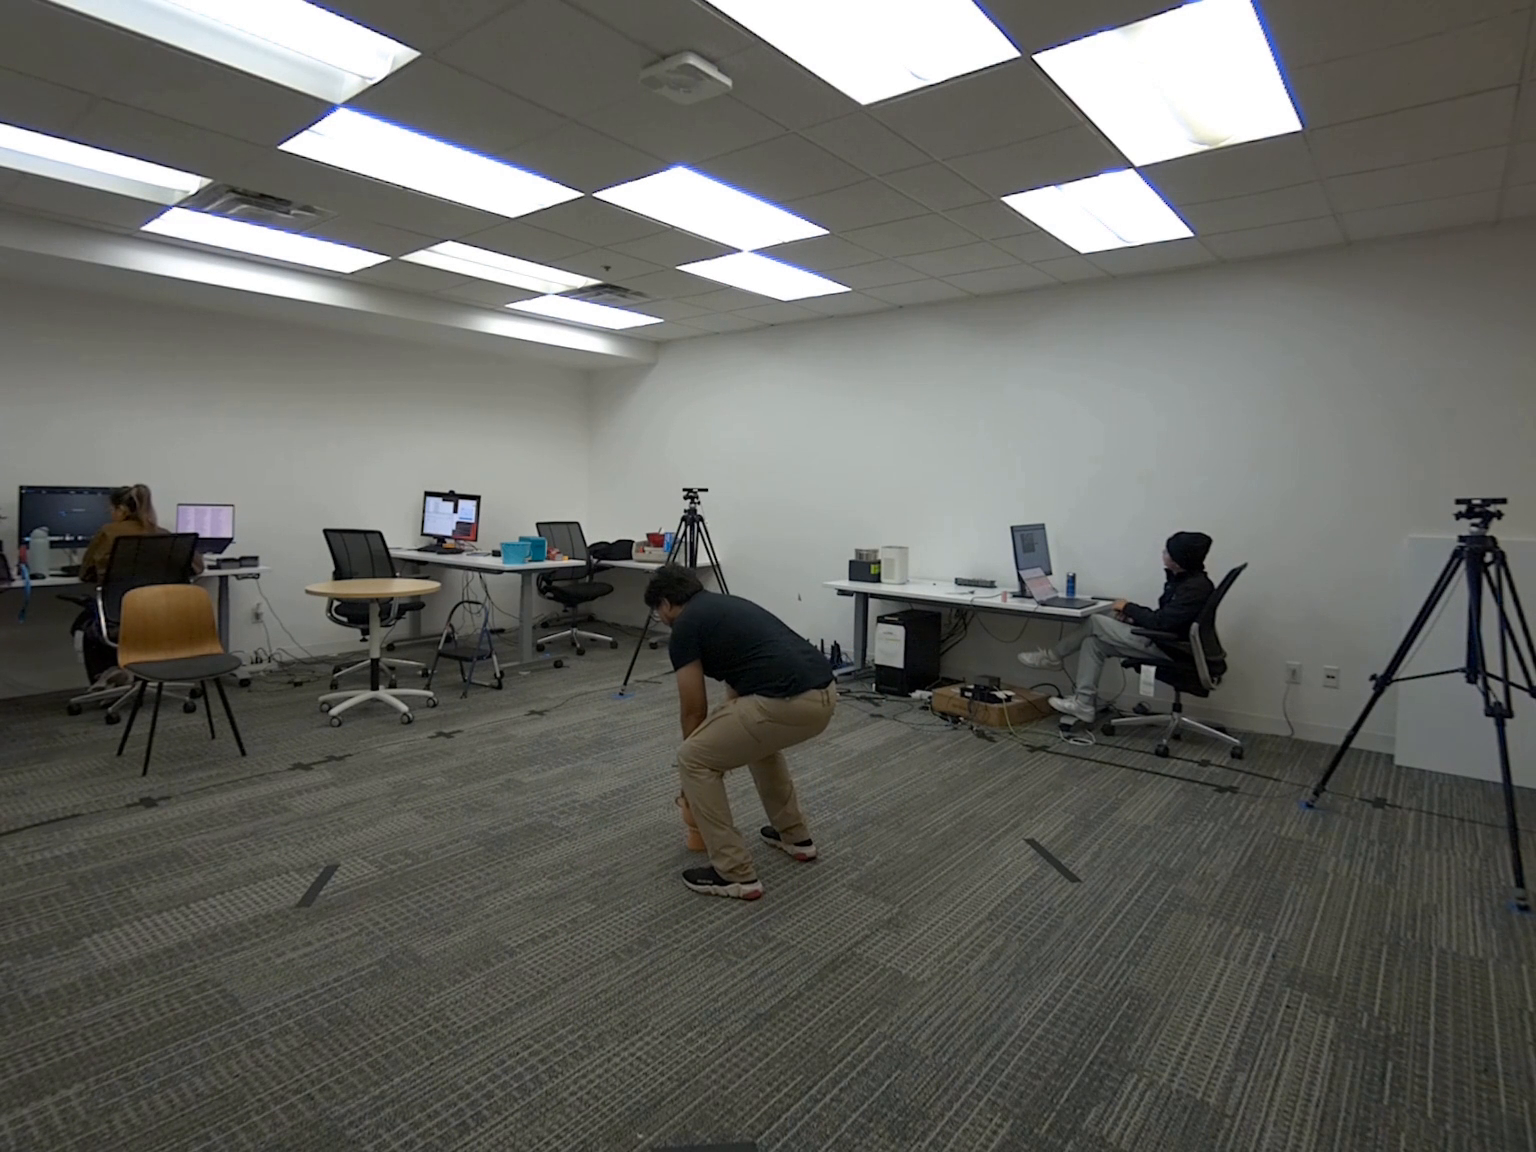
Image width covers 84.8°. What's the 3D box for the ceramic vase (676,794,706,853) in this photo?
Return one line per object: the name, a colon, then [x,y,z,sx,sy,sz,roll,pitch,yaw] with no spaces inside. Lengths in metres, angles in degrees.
ceramic vase: [-0.278,0.935,3.304,0.130,0.219,0.164,-2,7,-40]
